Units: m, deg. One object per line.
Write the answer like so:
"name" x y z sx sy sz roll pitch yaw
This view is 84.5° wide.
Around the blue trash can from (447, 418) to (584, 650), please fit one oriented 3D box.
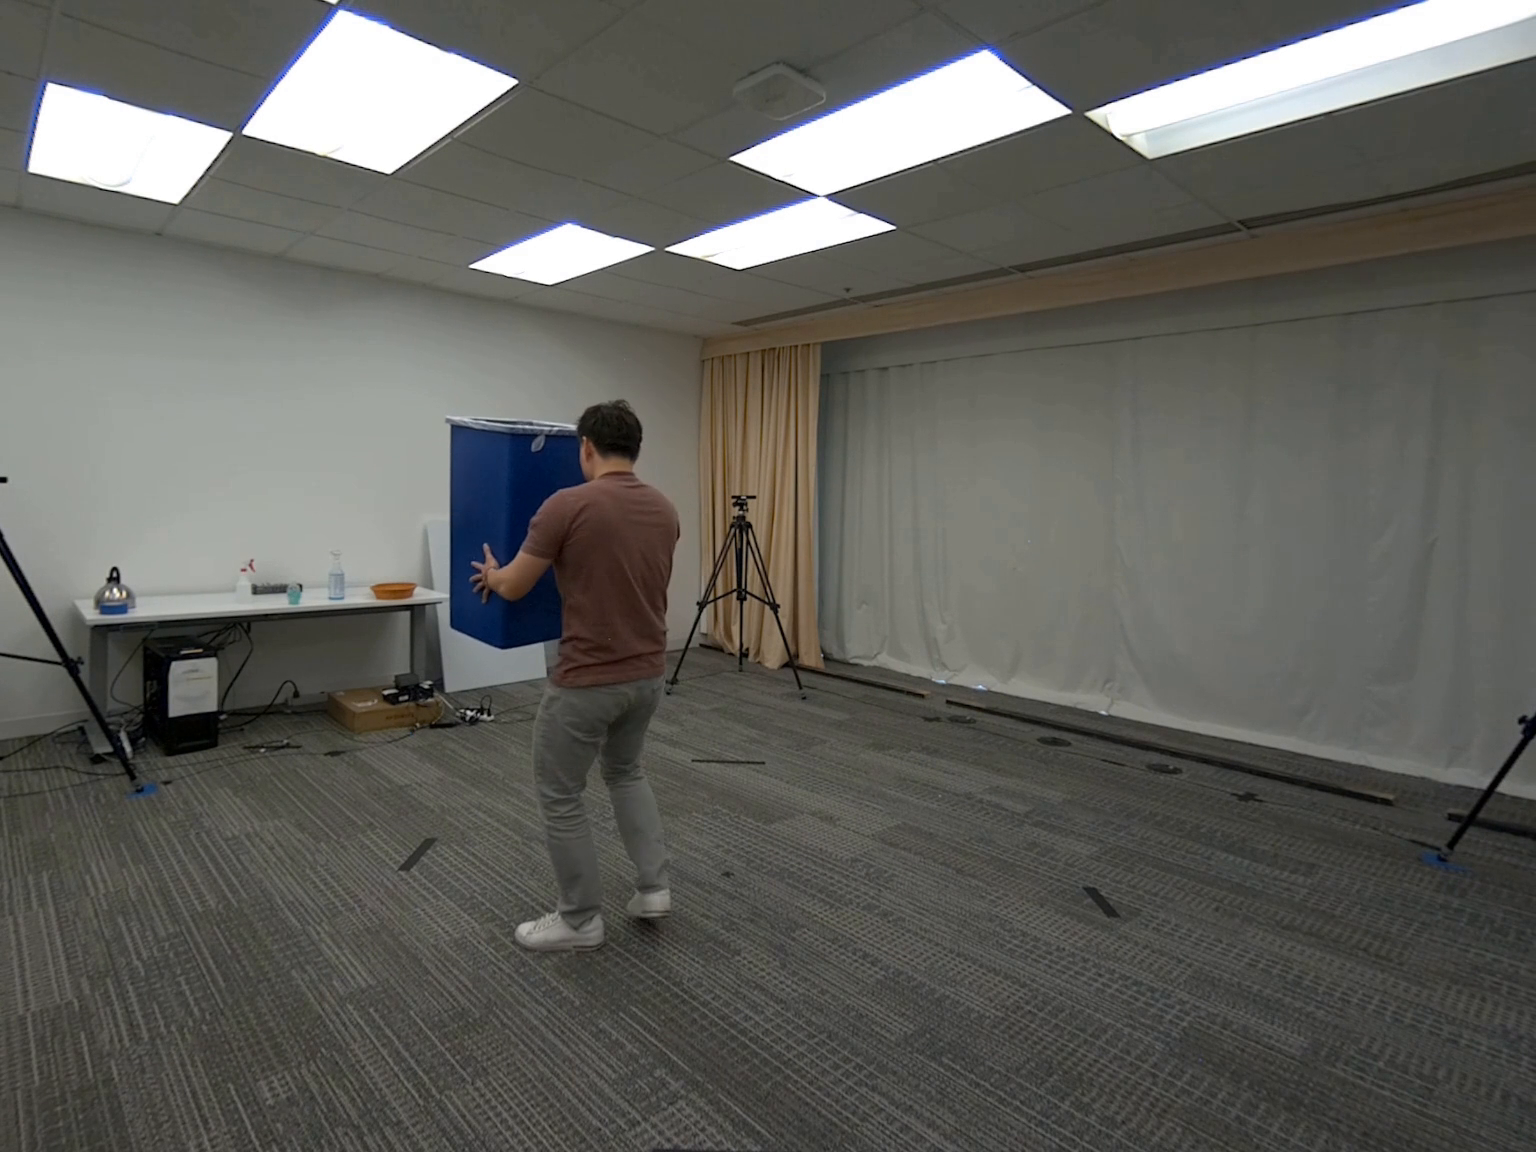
"blue trash can" -0.850 -0.157 2.817 0.384 0.709 0.370 14 12 35
